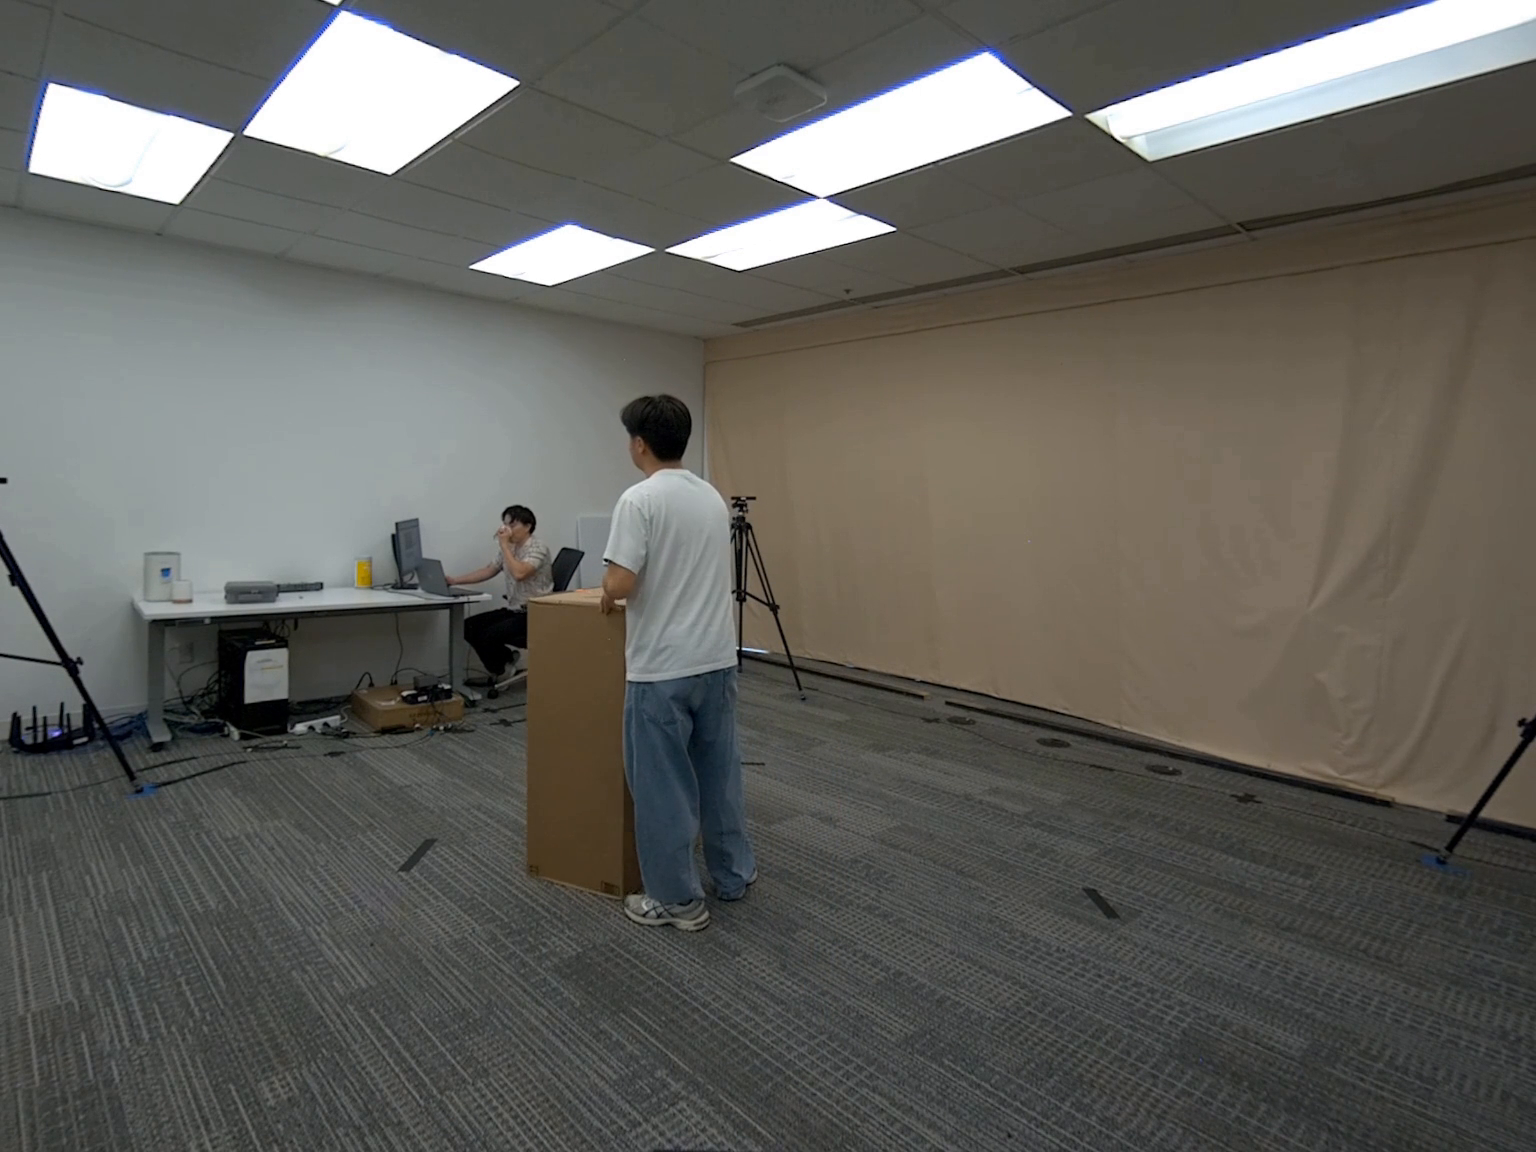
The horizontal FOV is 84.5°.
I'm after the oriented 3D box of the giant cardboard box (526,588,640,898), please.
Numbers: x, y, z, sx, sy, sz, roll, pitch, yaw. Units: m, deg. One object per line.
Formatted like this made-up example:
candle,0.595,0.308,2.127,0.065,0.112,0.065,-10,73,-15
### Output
giant cardboard box,-0.576,0.577,3.205,0.435,1.023,0.567,3,4,26
